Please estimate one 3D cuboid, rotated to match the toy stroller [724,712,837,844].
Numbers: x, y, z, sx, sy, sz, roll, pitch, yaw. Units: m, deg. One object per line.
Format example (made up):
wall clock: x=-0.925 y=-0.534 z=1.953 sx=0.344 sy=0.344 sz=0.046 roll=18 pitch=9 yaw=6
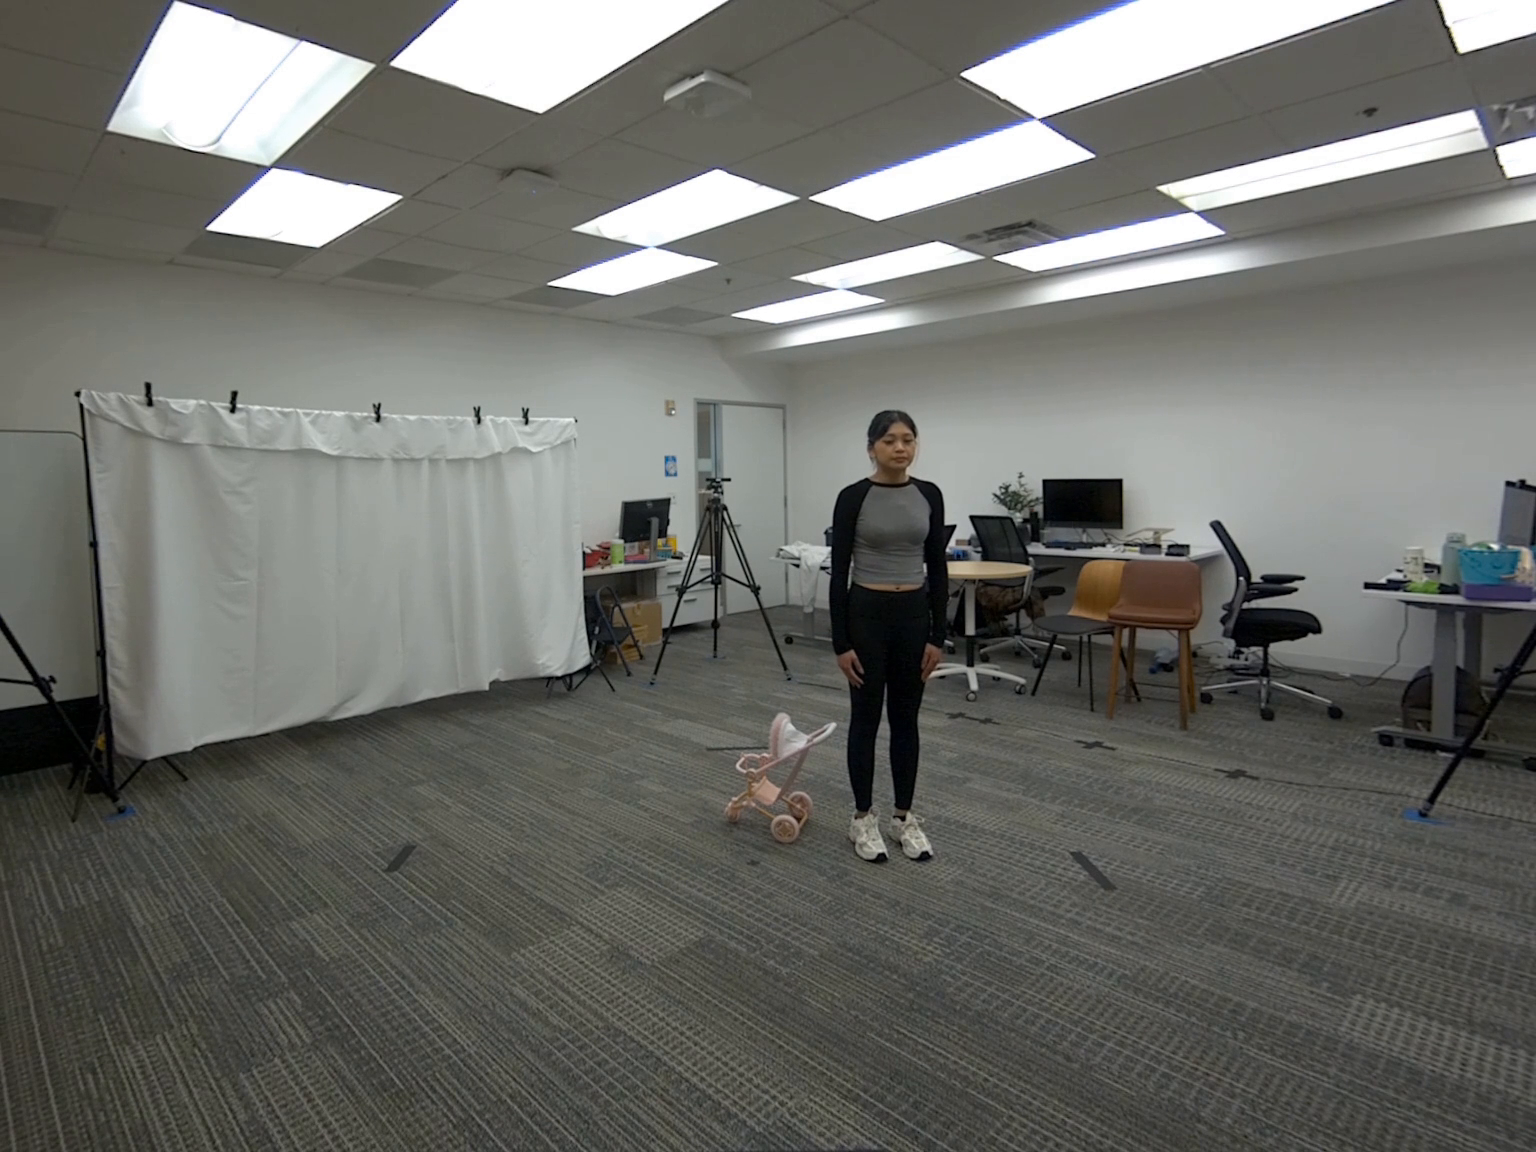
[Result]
toy stroller: x=0.038 y=0.783 z=3.399 sx=0.350 sy=0.531 sz=0.277 roll=19 pitch=11 yaw=20
